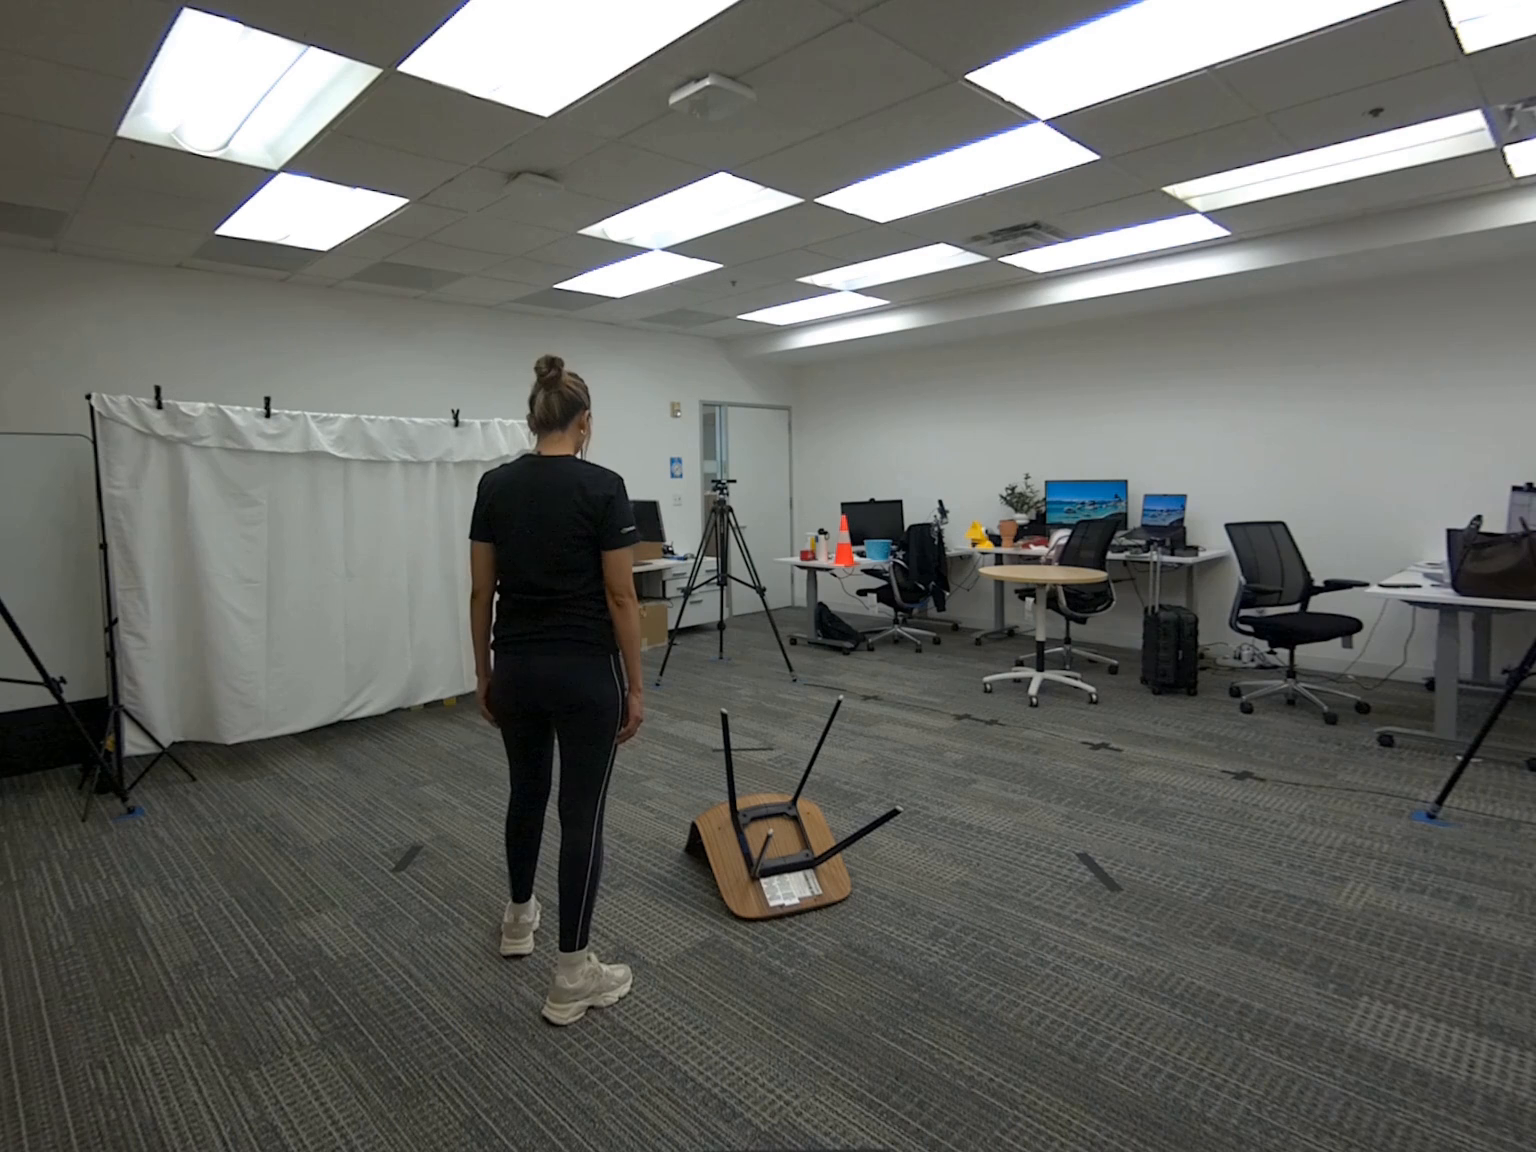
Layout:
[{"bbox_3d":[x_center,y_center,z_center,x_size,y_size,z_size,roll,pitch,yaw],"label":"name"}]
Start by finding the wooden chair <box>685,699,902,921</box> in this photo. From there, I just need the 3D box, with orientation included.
[{"bbox_3d":[0.023,0.896,2.914,0.468,0.864,0.542,-2,46,-25],"label":"wooden chair"}]
